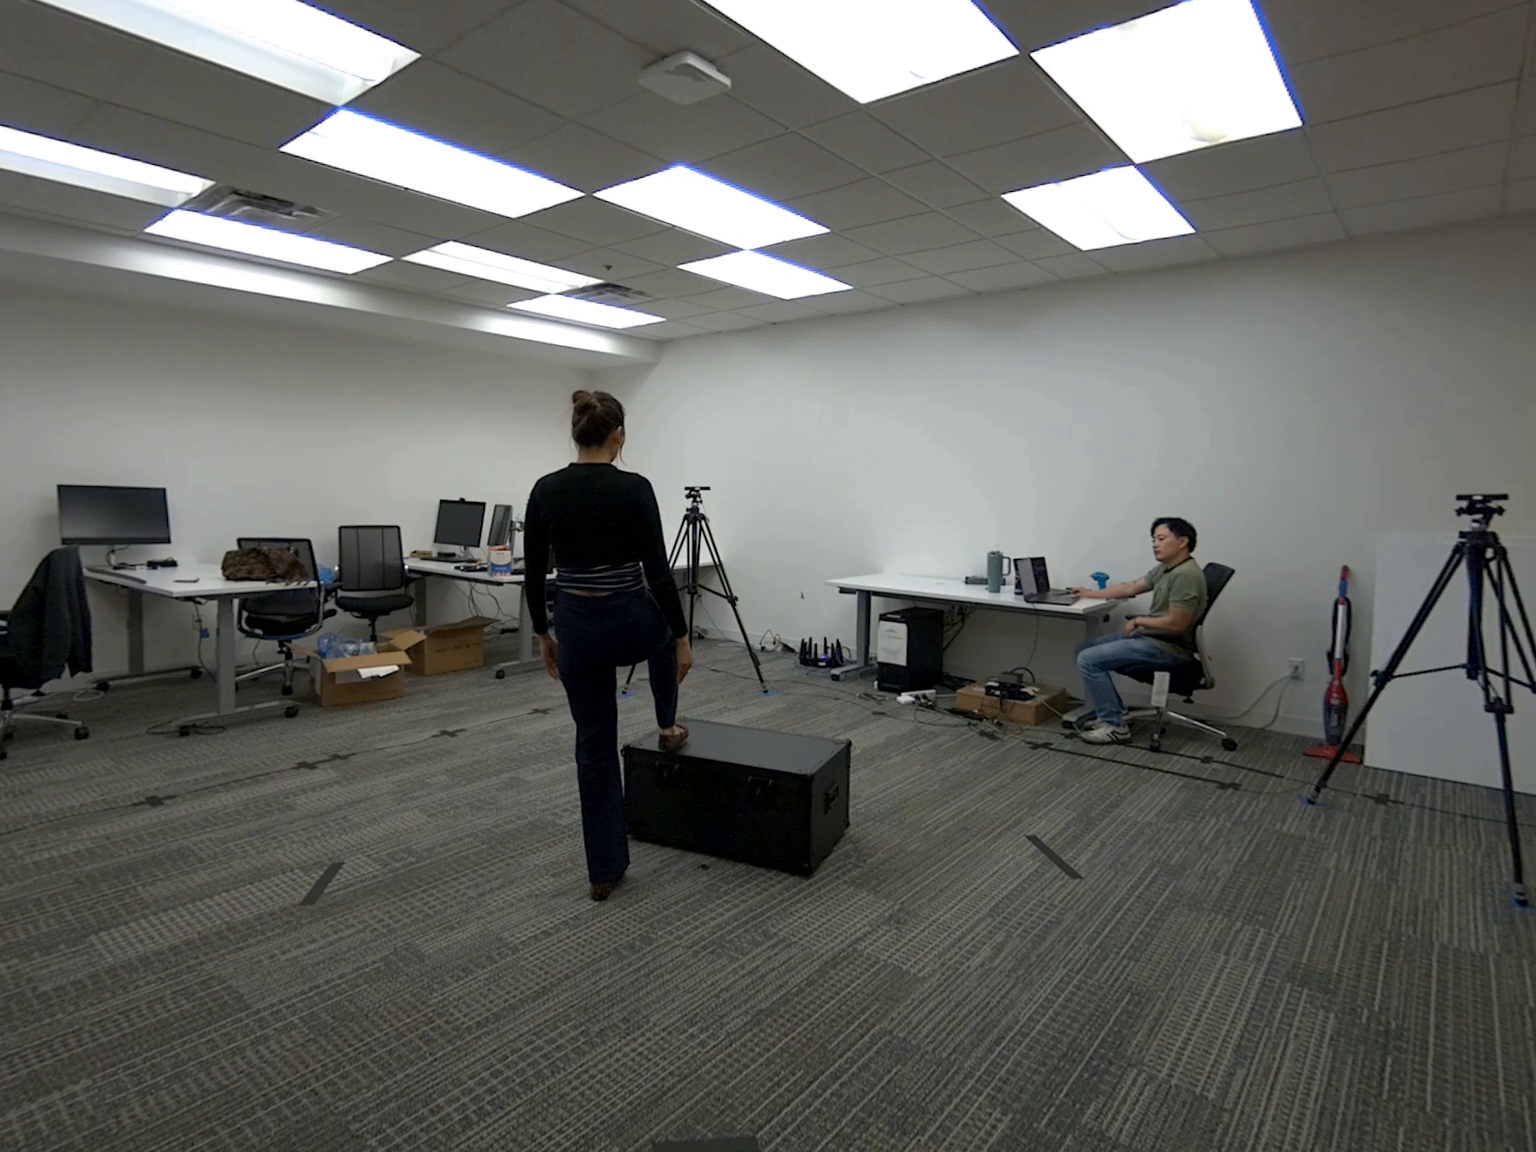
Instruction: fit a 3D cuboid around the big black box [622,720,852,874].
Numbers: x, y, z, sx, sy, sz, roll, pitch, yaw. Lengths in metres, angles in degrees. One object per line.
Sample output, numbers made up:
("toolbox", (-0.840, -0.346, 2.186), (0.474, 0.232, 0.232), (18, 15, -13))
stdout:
("big black box", (-0.155, 0.846, 3.414), (0.883, 0.394, 0.511), (3, 6, 24))
